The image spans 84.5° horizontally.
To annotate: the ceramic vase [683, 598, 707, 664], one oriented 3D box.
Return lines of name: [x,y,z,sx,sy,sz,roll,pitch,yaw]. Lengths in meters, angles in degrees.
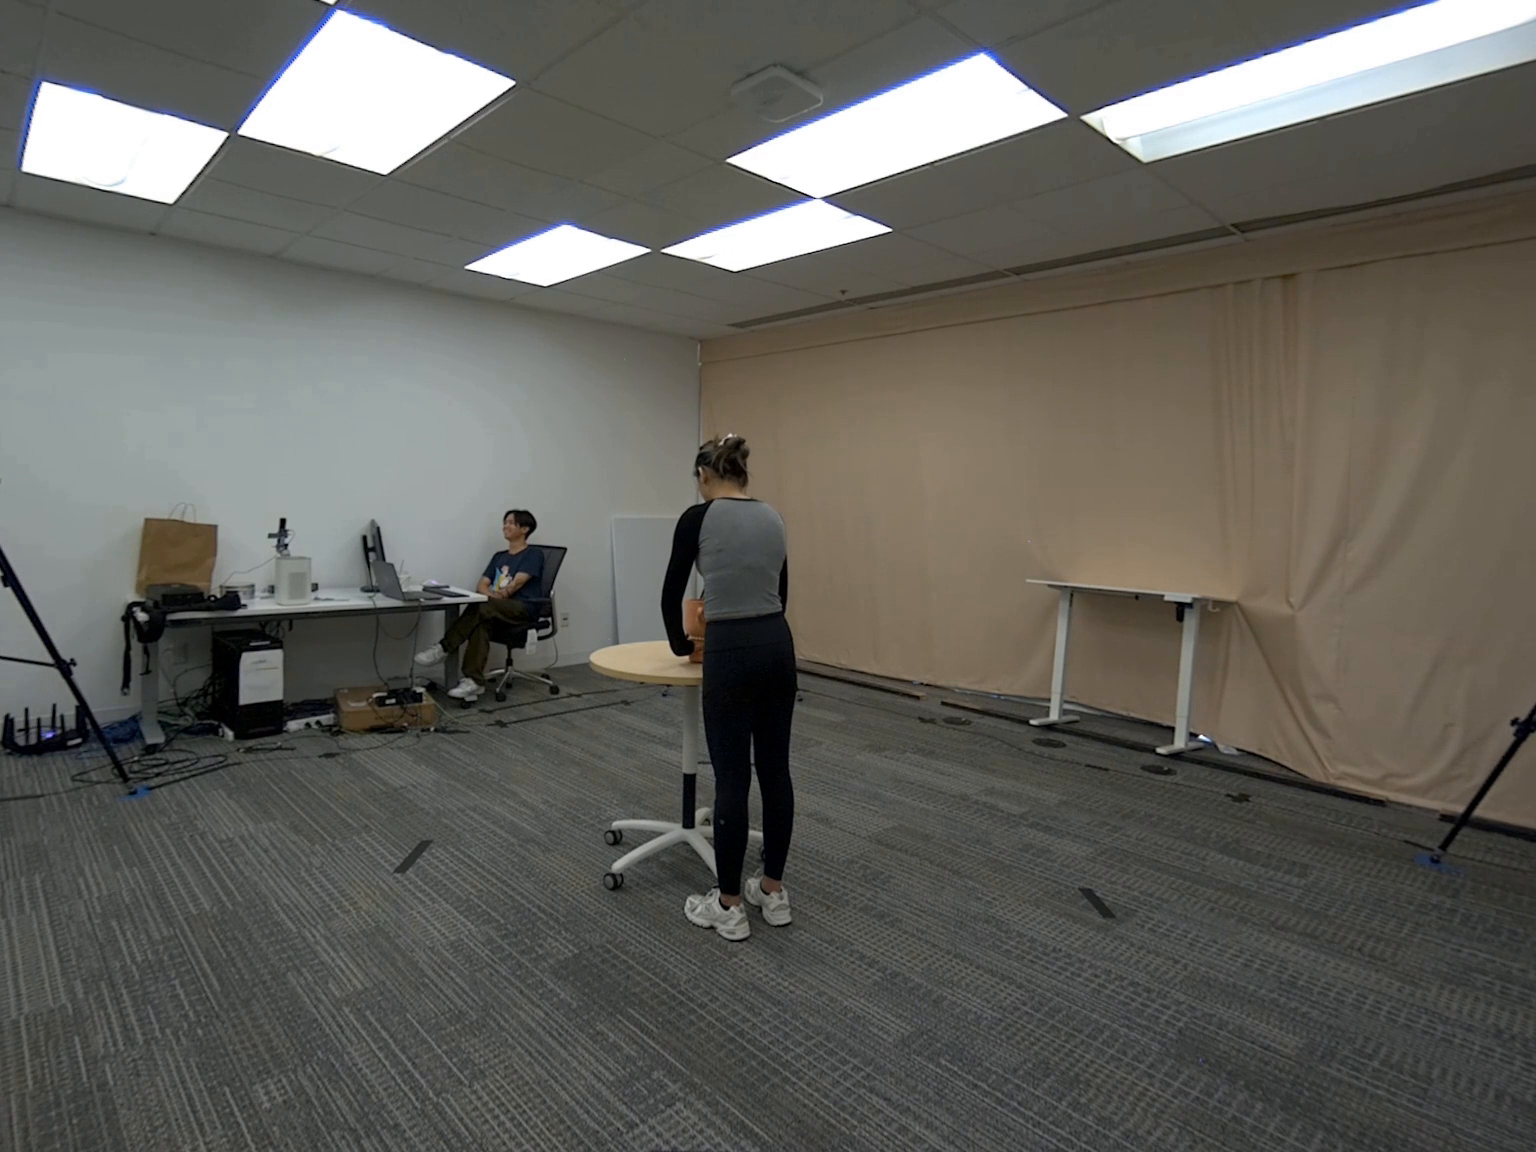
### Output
ceramic vase: [-0.246,0.197,3.078,0.138,0.220,0.155,2,1,40]
